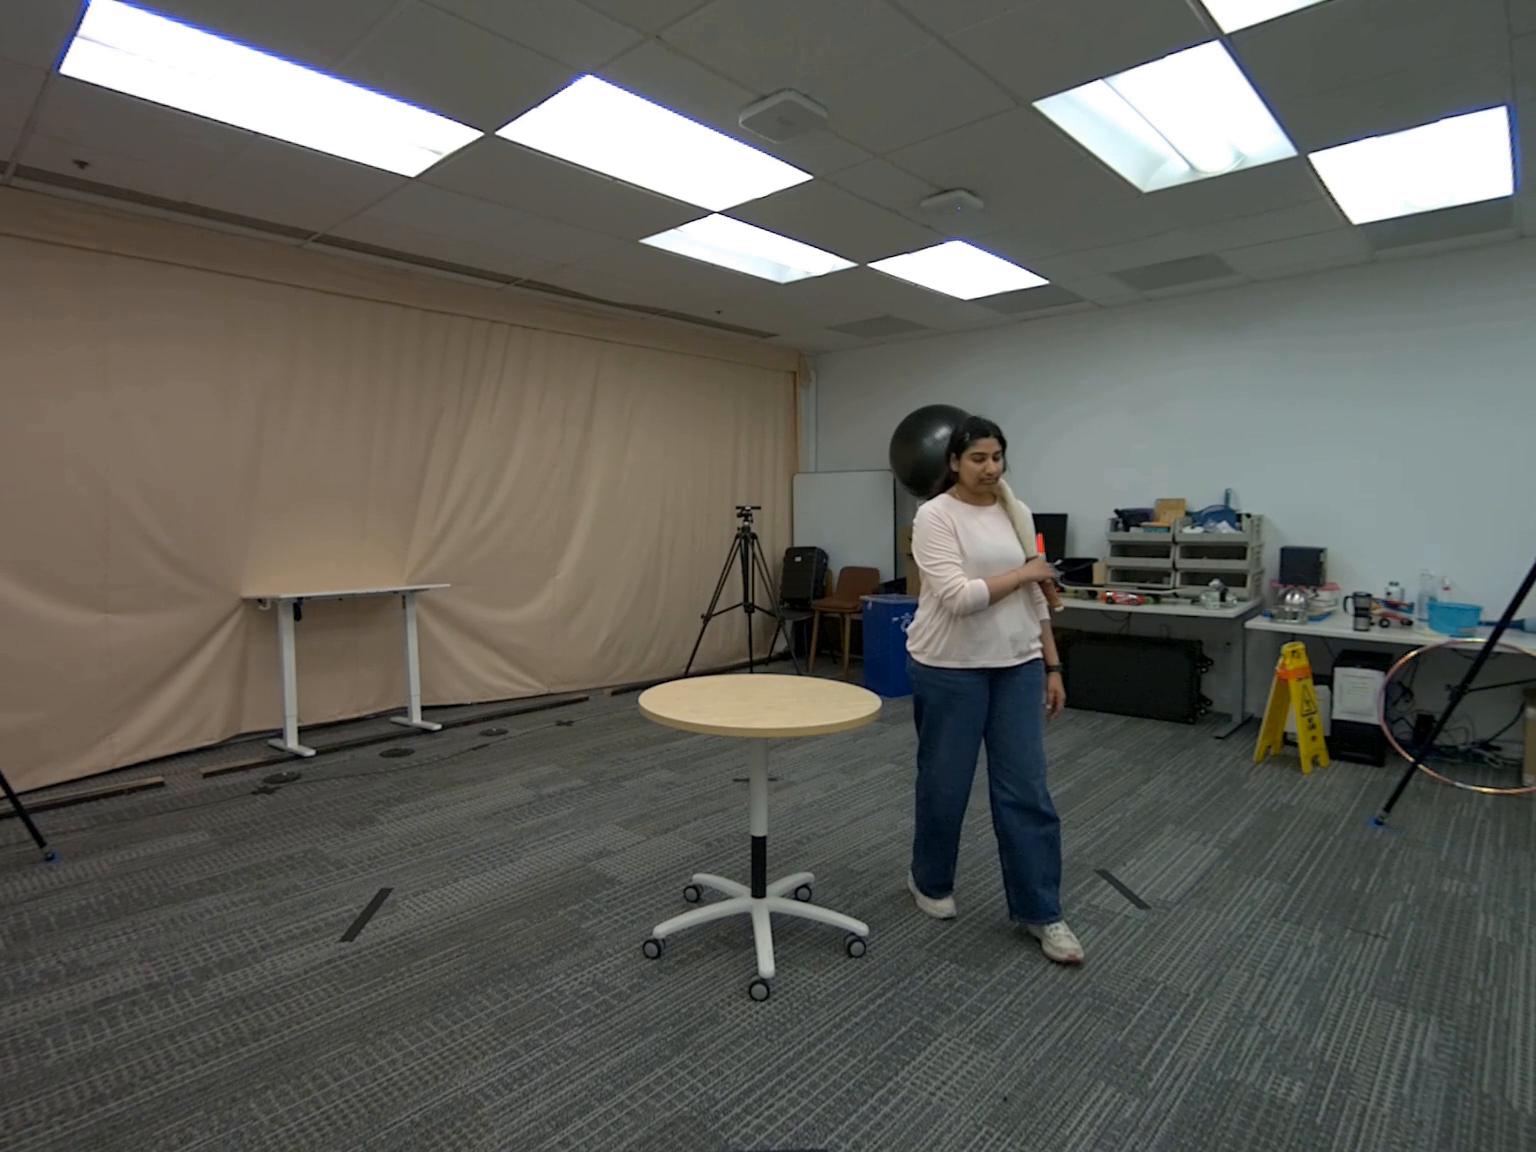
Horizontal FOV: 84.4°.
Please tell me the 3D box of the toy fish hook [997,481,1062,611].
[{"bbox_3d":[0.857,-0.103,2.835,0.048,0.513,0.221,-21,-14,2],"label":"toy fish hook"}]
